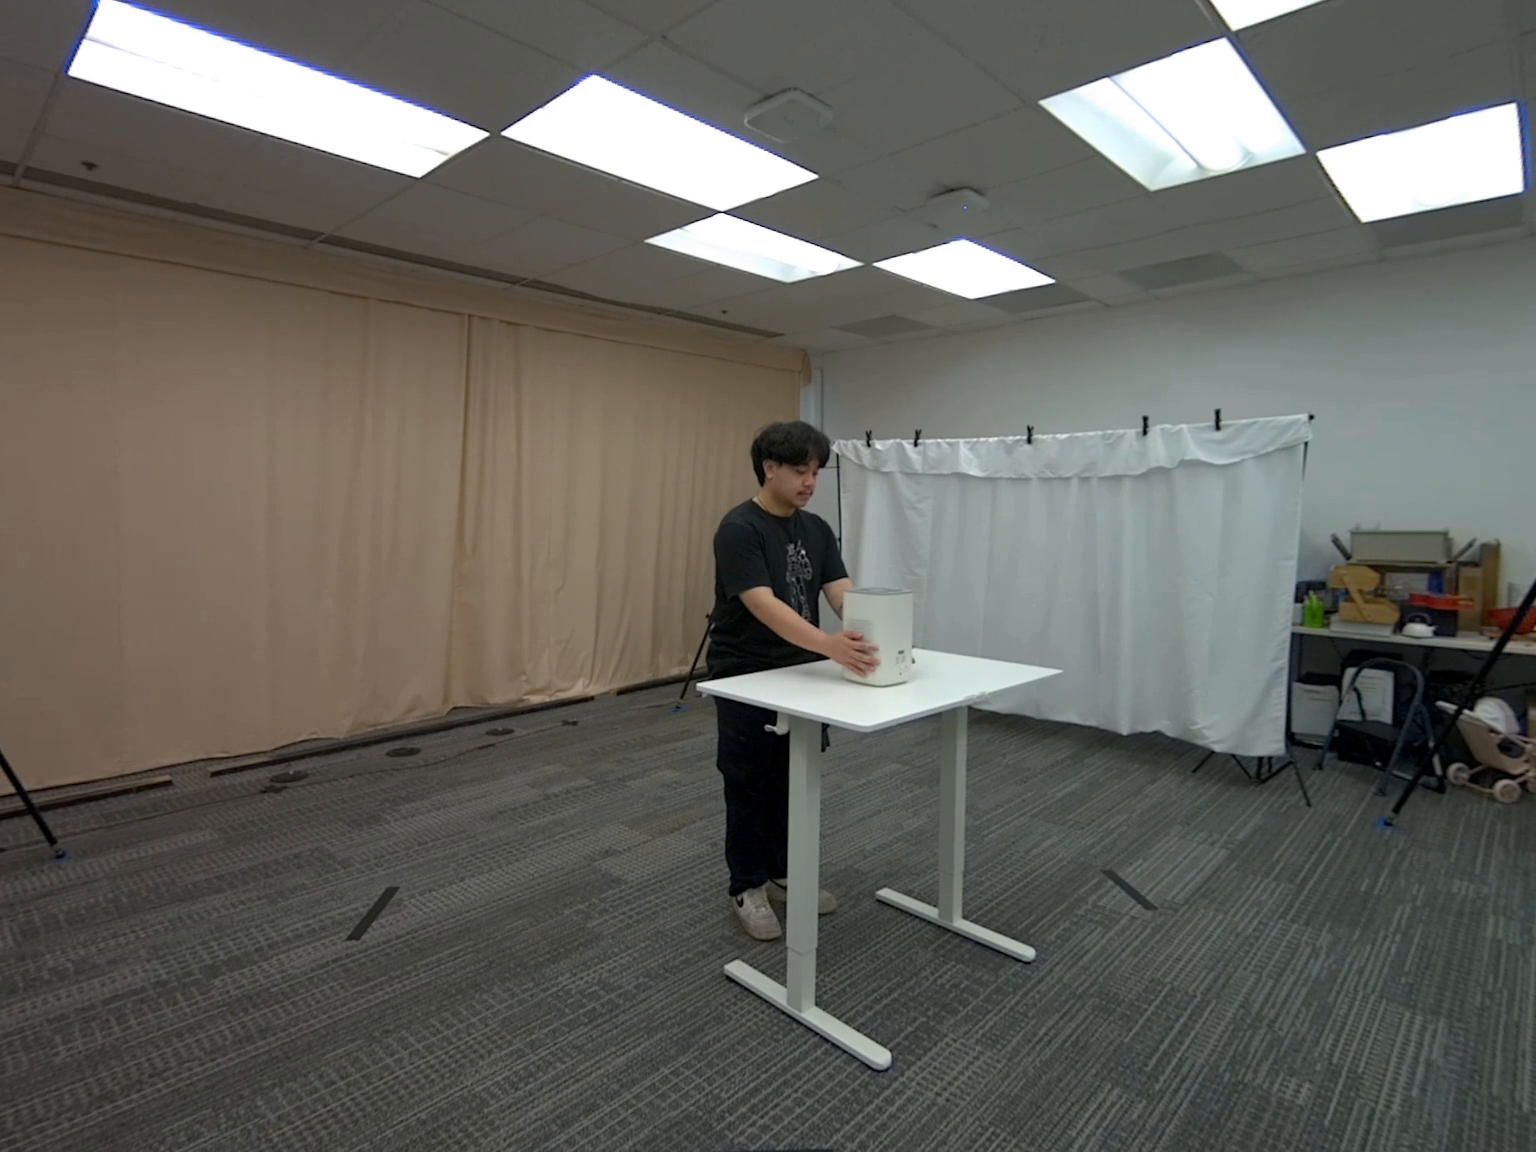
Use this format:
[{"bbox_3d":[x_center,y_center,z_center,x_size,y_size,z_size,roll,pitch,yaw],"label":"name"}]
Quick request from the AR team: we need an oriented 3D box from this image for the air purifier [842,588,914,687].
[{"bbox_3d":[0.318,0.177,2.422,0.166,0.265,0.177,-3,4,-43],"label":"air purifier"}]
